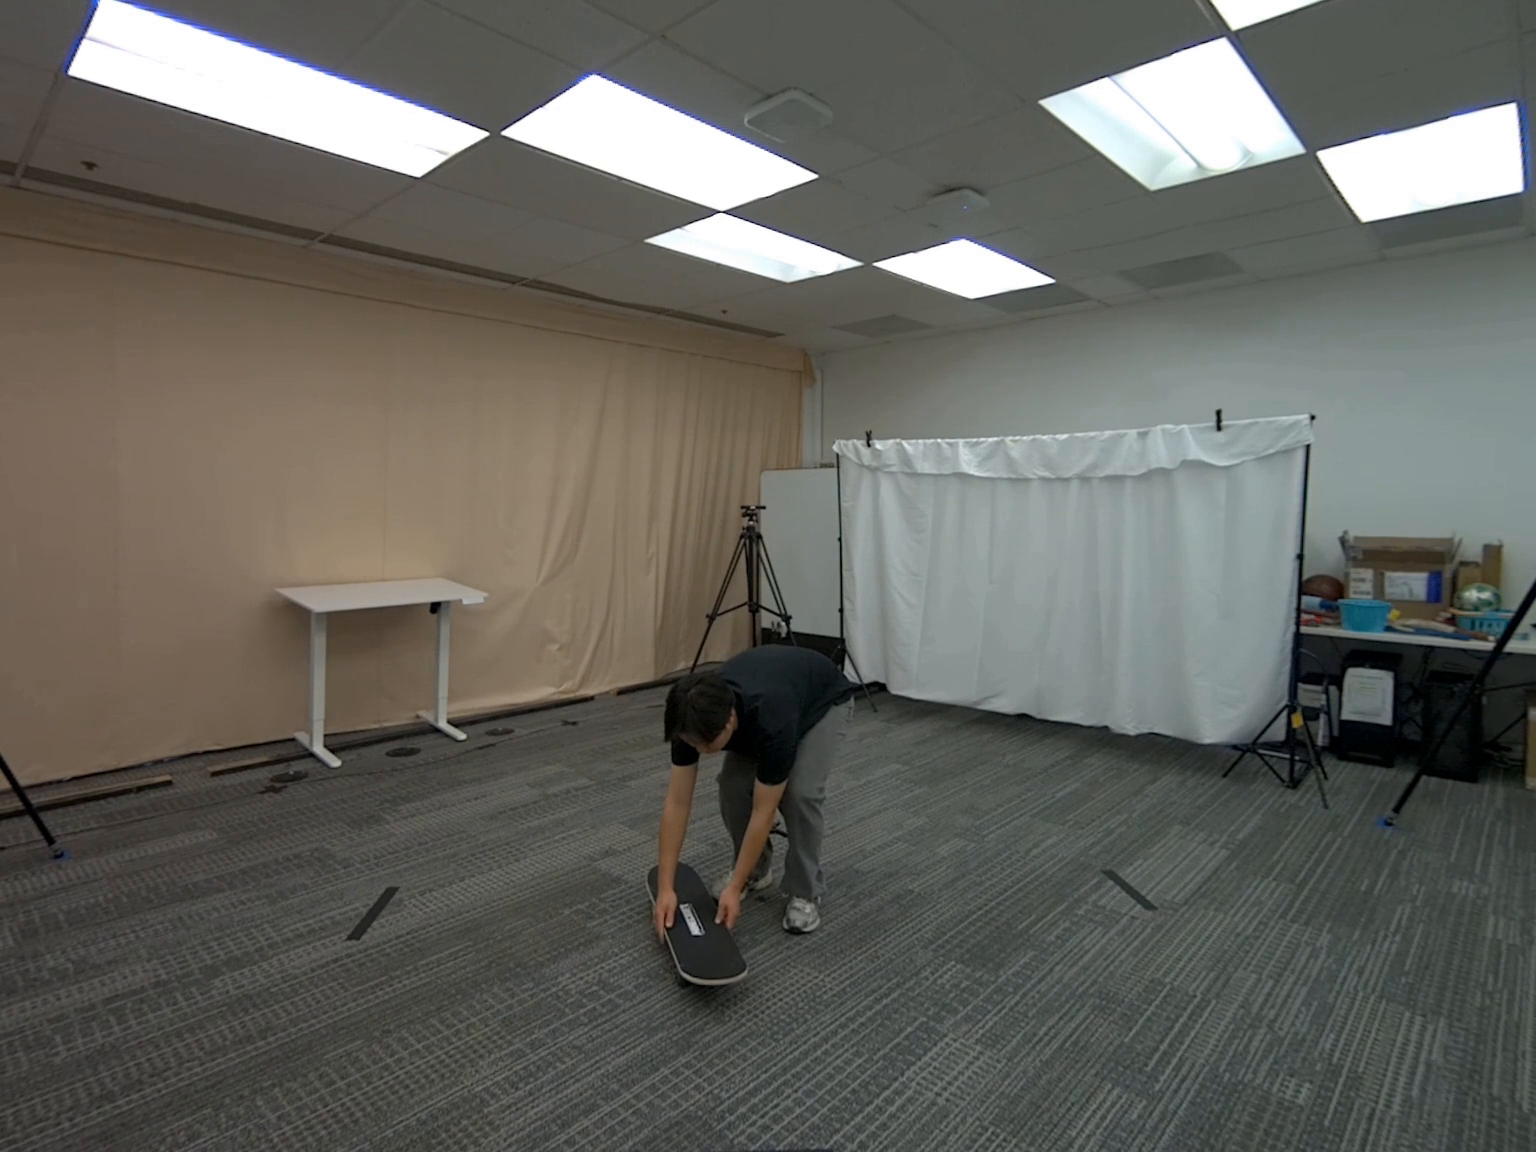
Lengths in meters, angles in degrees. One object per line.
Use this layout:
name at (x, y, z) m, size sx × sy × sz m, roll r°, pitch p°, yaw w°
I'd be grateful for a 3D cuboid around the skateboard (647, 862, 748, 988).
skateboard at (-0.237, 1.107, 2.664) m, size 0.190 × 0.110 × 0.800 m, roll -2°, pitch 5°, yaw -17°
